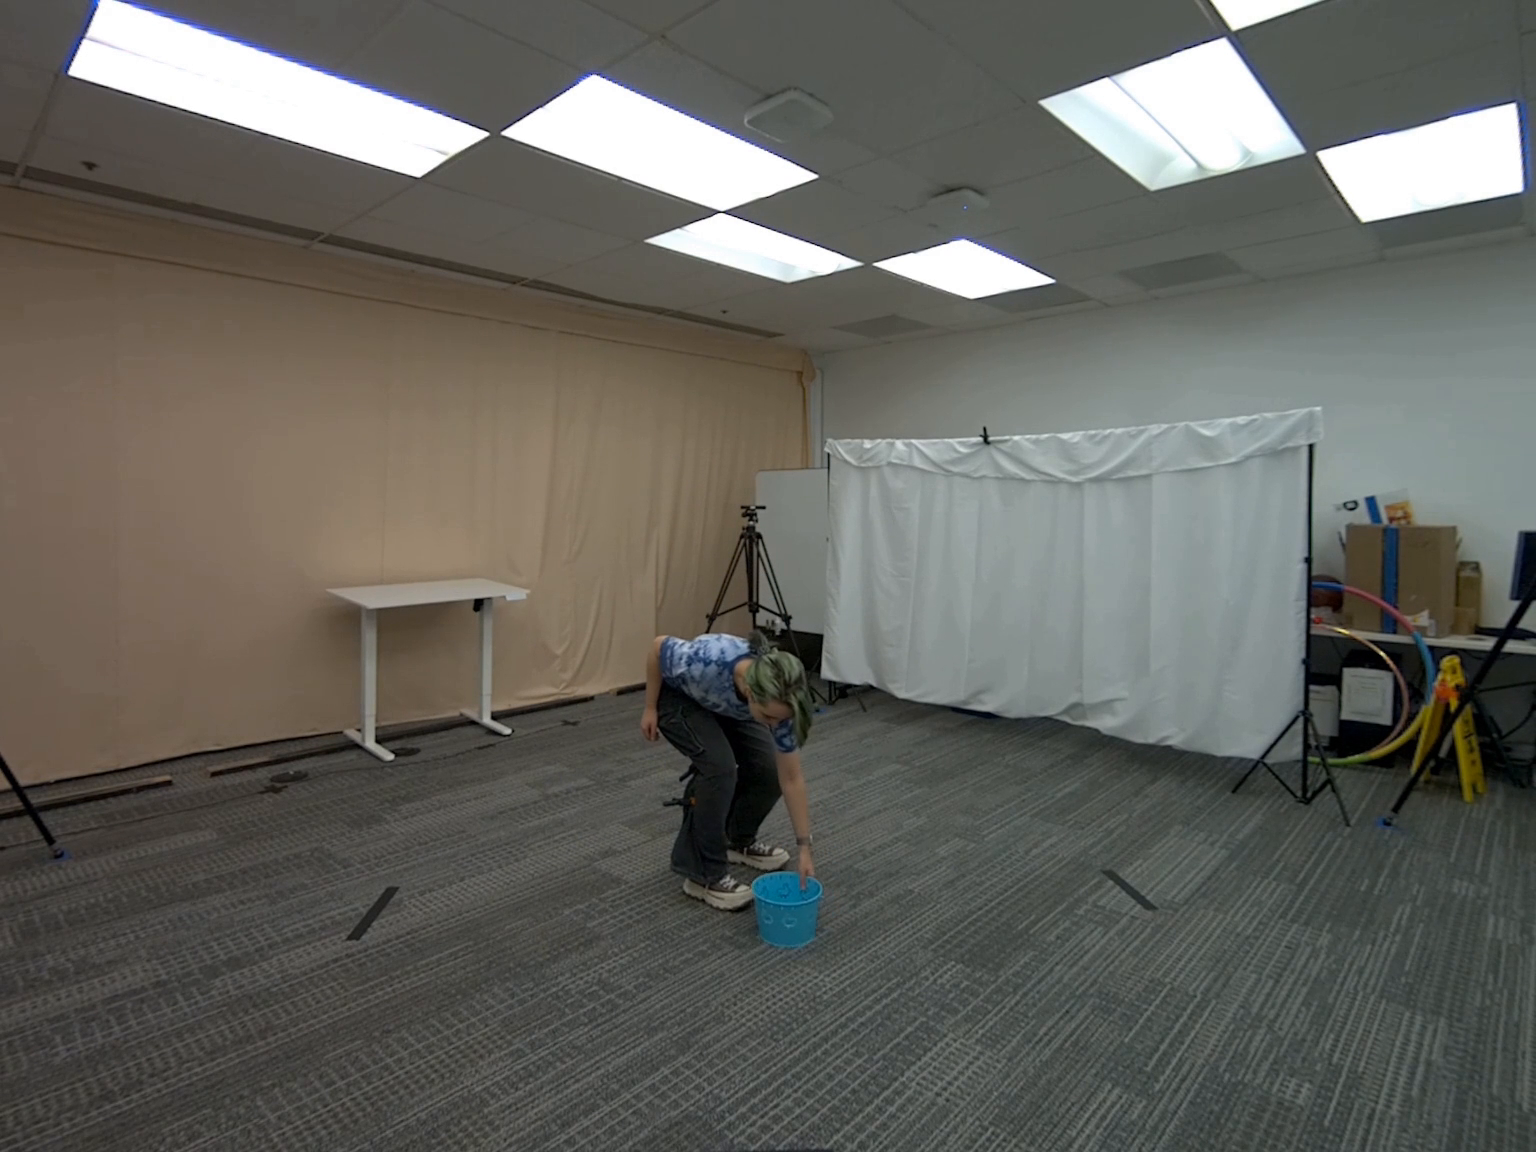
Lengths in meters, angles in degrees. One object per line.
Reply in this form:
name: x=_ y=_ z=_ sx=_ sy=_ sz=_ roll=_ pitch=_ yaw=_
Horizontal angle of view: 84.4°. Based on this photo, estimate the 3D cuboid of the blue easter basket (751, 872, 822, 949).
blue easter basket: x=0.072 y=1.085 z=2.749 sx=0.243 sy=0.155 sz=0.245 roll=0 pitch=5 yaw=-2
